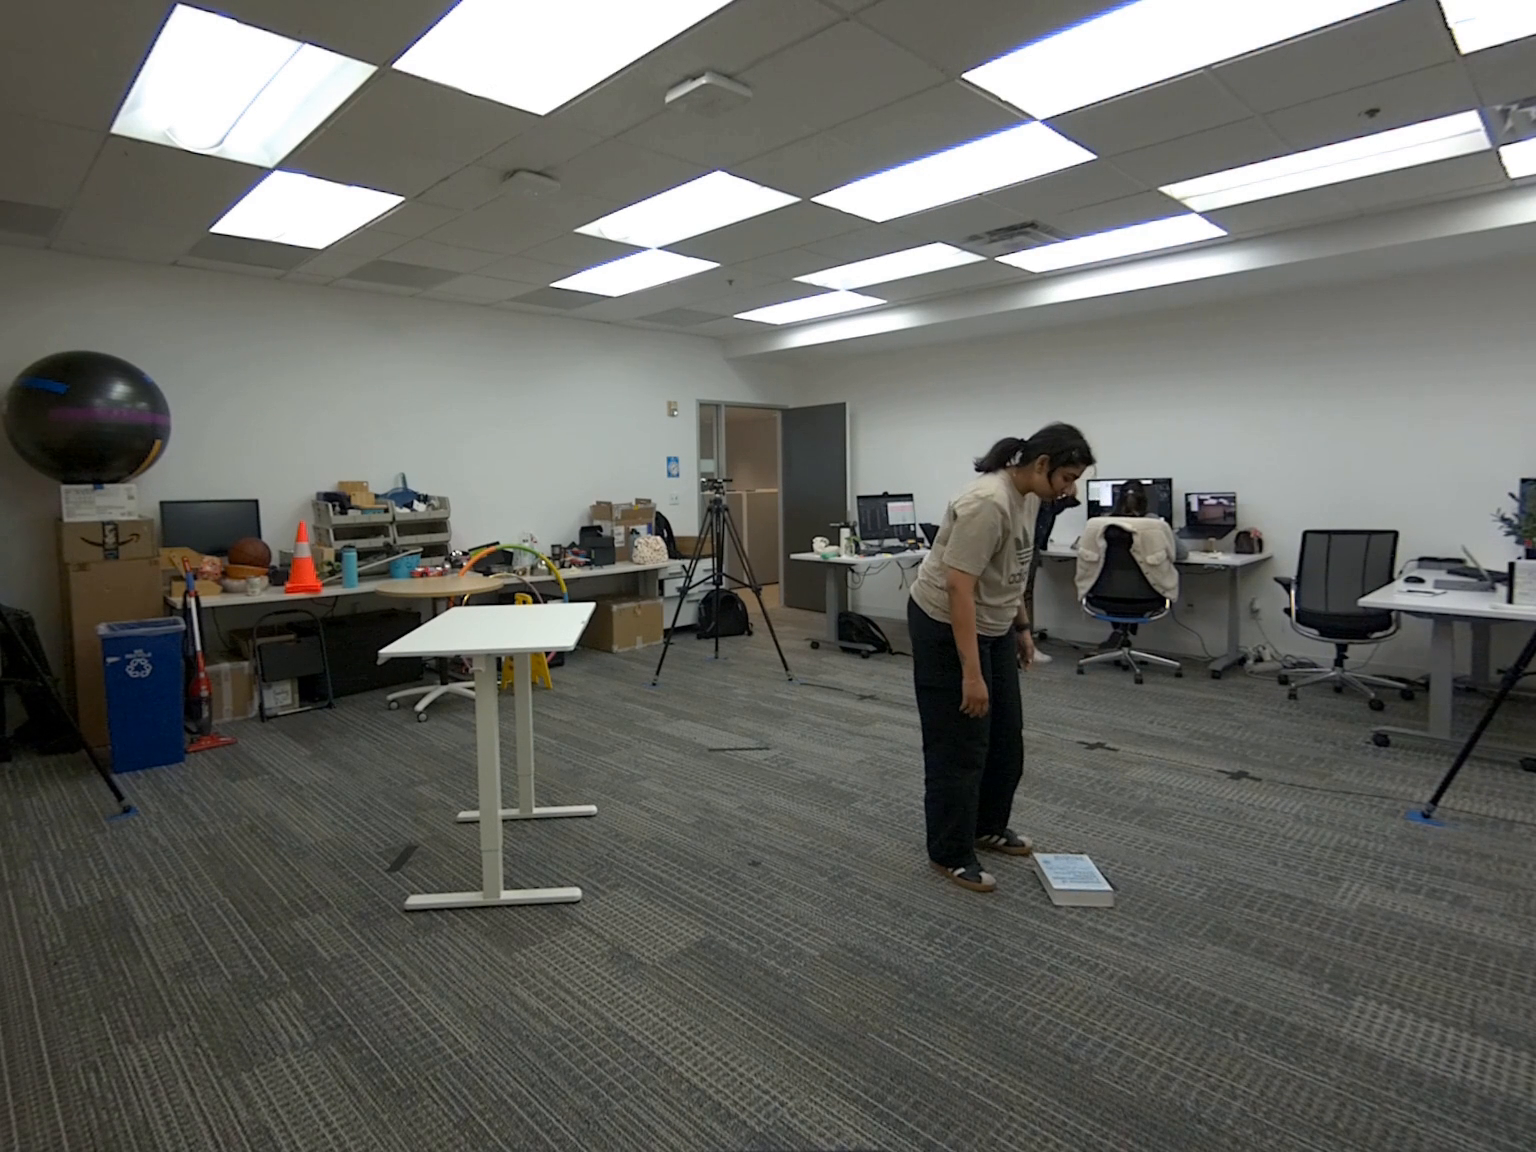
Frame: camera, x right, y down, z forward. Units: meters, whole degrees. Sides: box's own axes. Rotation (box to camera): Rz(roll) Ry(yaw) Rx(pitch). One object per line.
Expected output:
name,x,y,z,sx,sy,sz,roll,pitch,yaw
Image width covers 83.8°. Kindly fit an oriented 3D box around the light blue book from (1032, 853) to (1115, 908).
light blue book,1.013,1.020,2.880,0.192,0.059,0.261,-1,6,3
